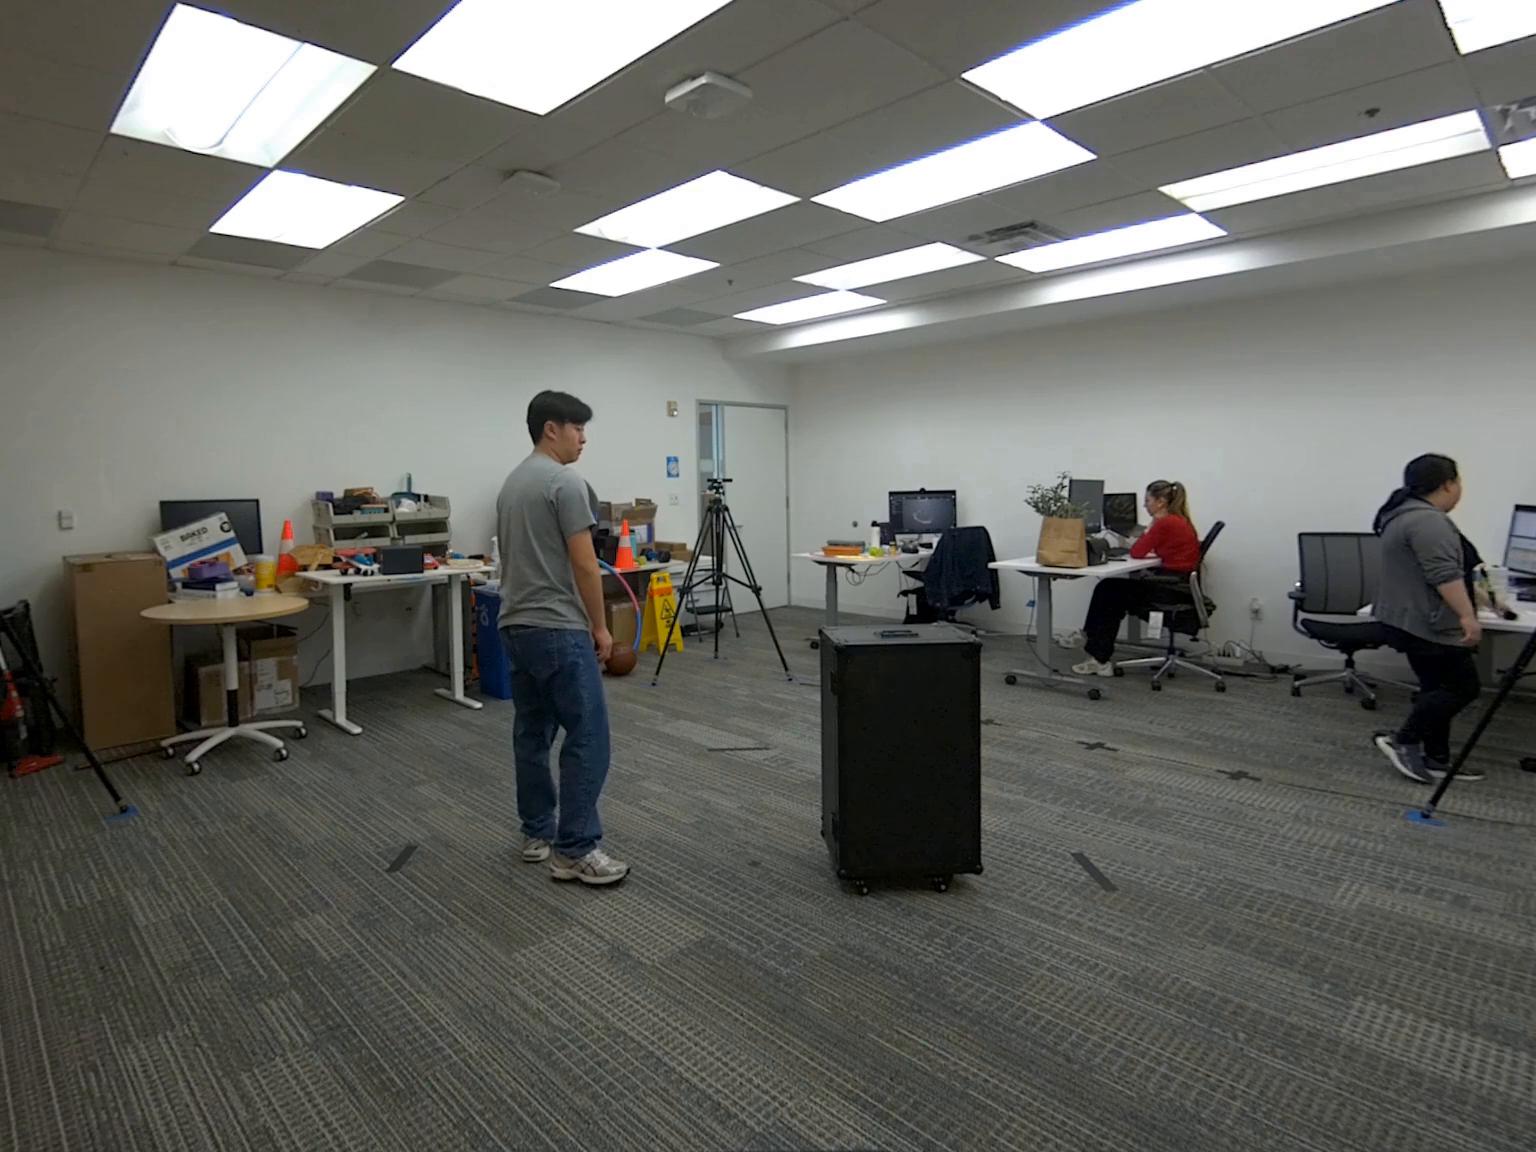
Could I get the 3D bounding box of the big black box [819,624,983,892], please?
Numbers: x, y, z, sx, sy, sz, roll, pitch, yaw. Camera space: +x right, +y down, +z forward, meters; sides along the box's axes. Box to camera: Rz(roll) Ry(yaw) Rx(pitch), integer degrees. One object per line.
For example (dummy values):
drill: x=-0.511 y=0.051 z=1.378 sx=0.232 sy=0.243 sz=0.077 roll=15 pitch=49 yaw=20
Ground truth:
big black box: x=0.444 y=0.615 z=2.997 sx=0.520 sy=0.859 sz=0.398 roll=-1 pitch=4 yaw=-3
